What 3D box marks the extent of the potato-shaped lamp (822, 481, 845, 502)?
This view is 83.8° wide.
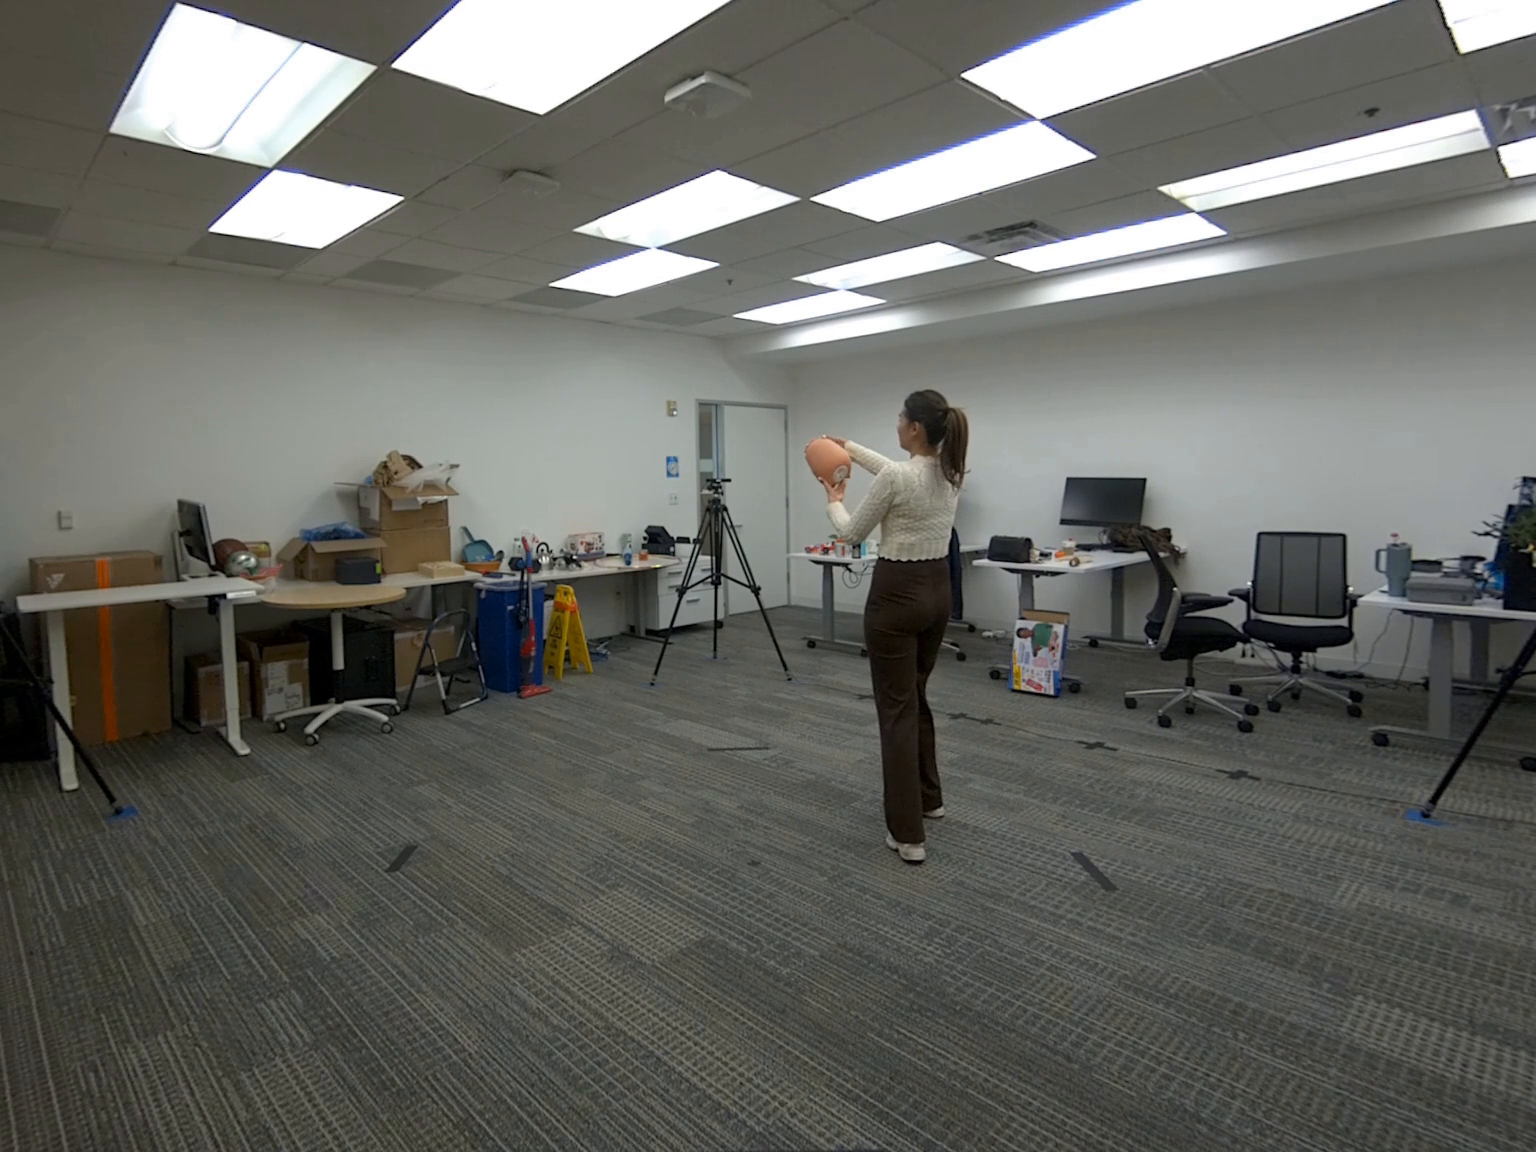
[{"bbox_3d":[0.271,-0.498,3.624,0.170,0.203,0.161,-25,-23,-16],"label":"potato-shaped lamp"}]
